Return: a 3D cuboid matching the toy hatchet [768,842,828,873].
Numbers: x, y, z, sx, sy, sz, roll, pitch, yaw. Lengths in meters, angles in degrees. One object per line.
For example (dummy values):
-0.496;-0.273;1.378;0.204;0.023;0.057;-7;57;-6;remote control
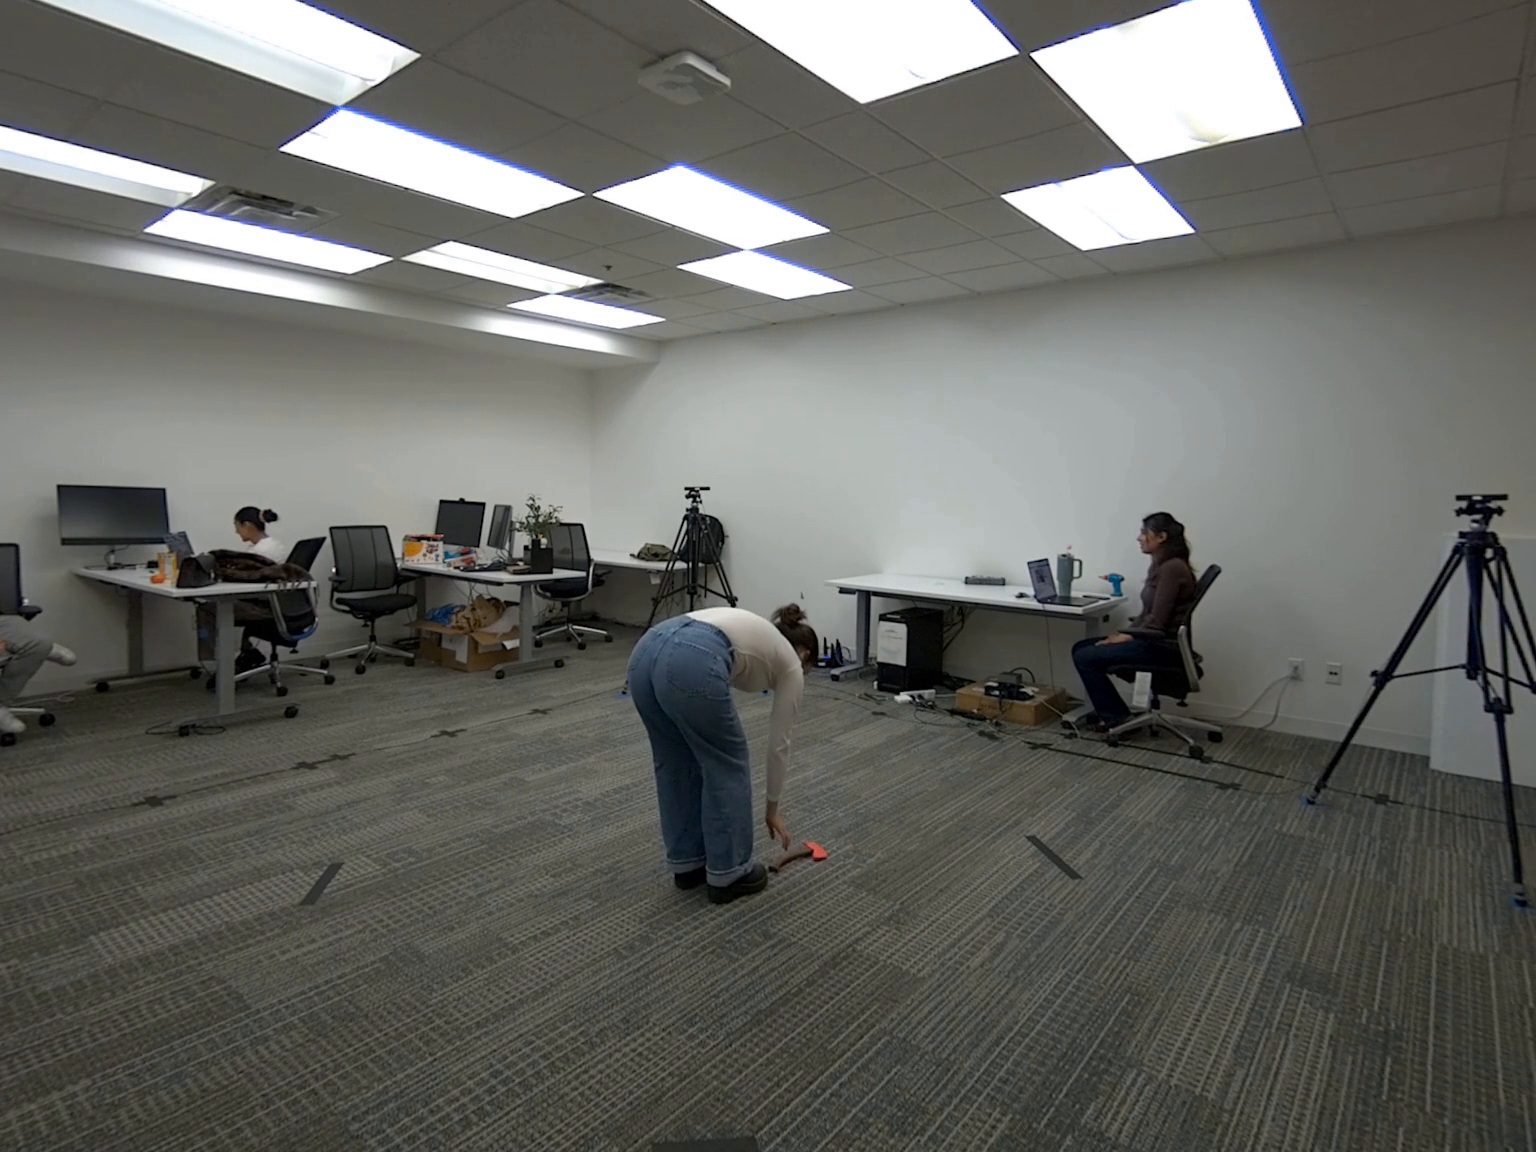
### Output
0.116;1.053;3.172;0.135;0.029;0.263;8;11;34;toy hatchet
